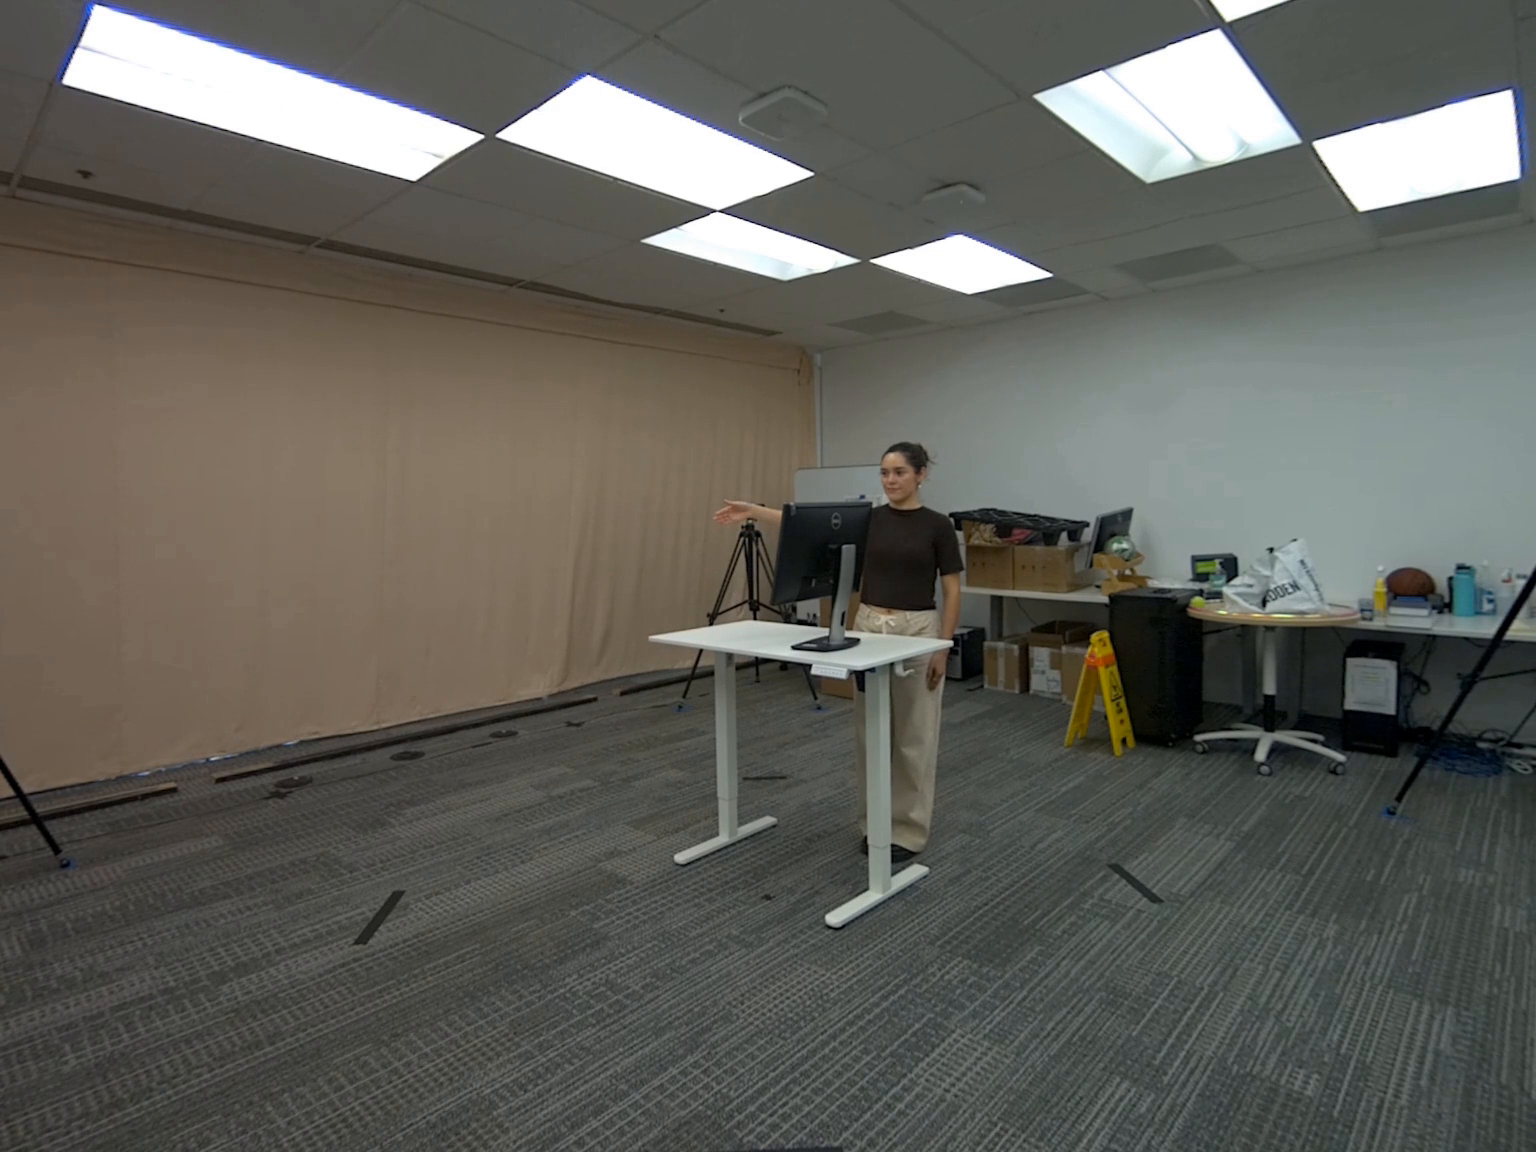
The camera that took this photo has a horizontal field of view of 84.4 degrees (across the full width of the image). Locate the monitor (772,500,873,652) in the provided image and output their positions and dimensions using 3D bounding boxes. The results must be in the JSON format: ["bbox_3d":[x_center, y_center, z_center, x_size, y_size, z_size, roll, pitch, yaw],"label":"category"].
[{"bbox_3d":[0.219,-0.001,2.997,0.193,0.522,0.523,-3,1,43],"label":"monitor"}]
